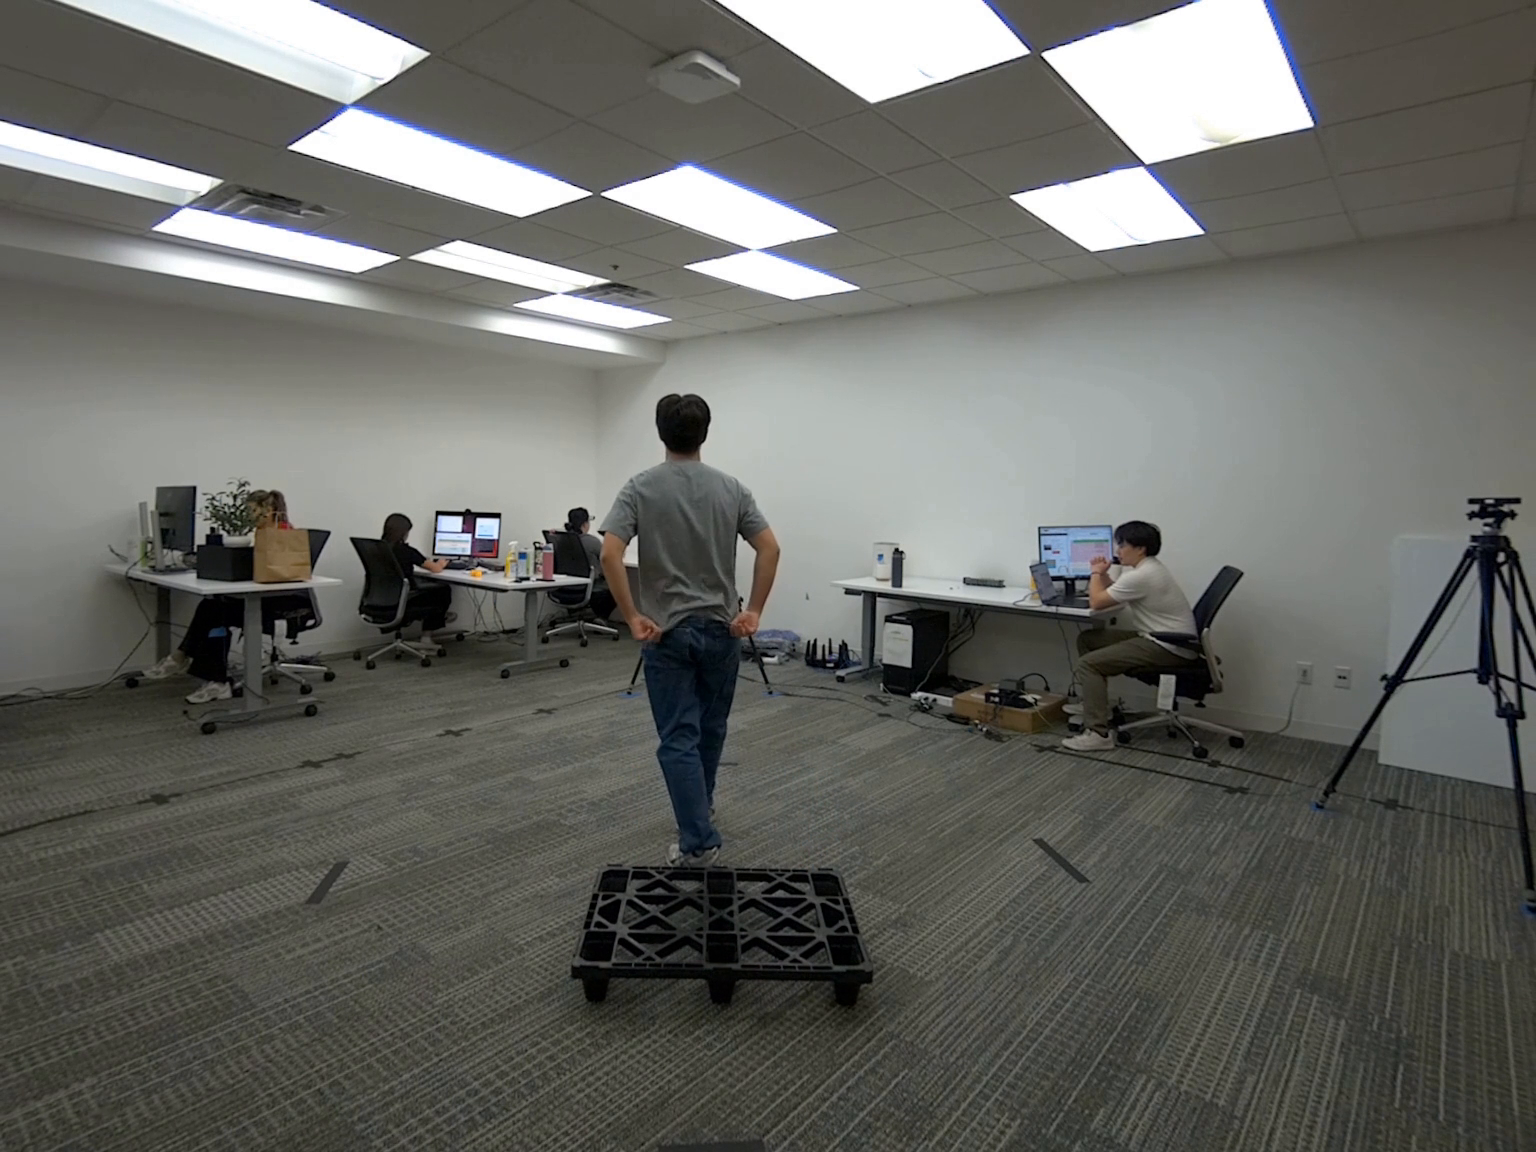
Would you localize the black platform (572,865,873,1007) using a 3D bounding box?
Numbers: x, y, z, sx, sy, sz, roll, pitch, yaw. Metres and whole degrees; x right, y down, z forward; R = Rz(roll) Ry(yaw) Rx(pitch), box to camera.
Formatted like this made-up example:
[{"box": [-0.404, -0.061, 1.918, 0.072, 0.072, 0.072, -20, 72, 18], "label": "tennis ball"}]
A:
[{"box": [-0.150, 1.053, 2.529, 0.805, 0.143, 0.608, 1, 5, -2], "label": "black platform"}]
